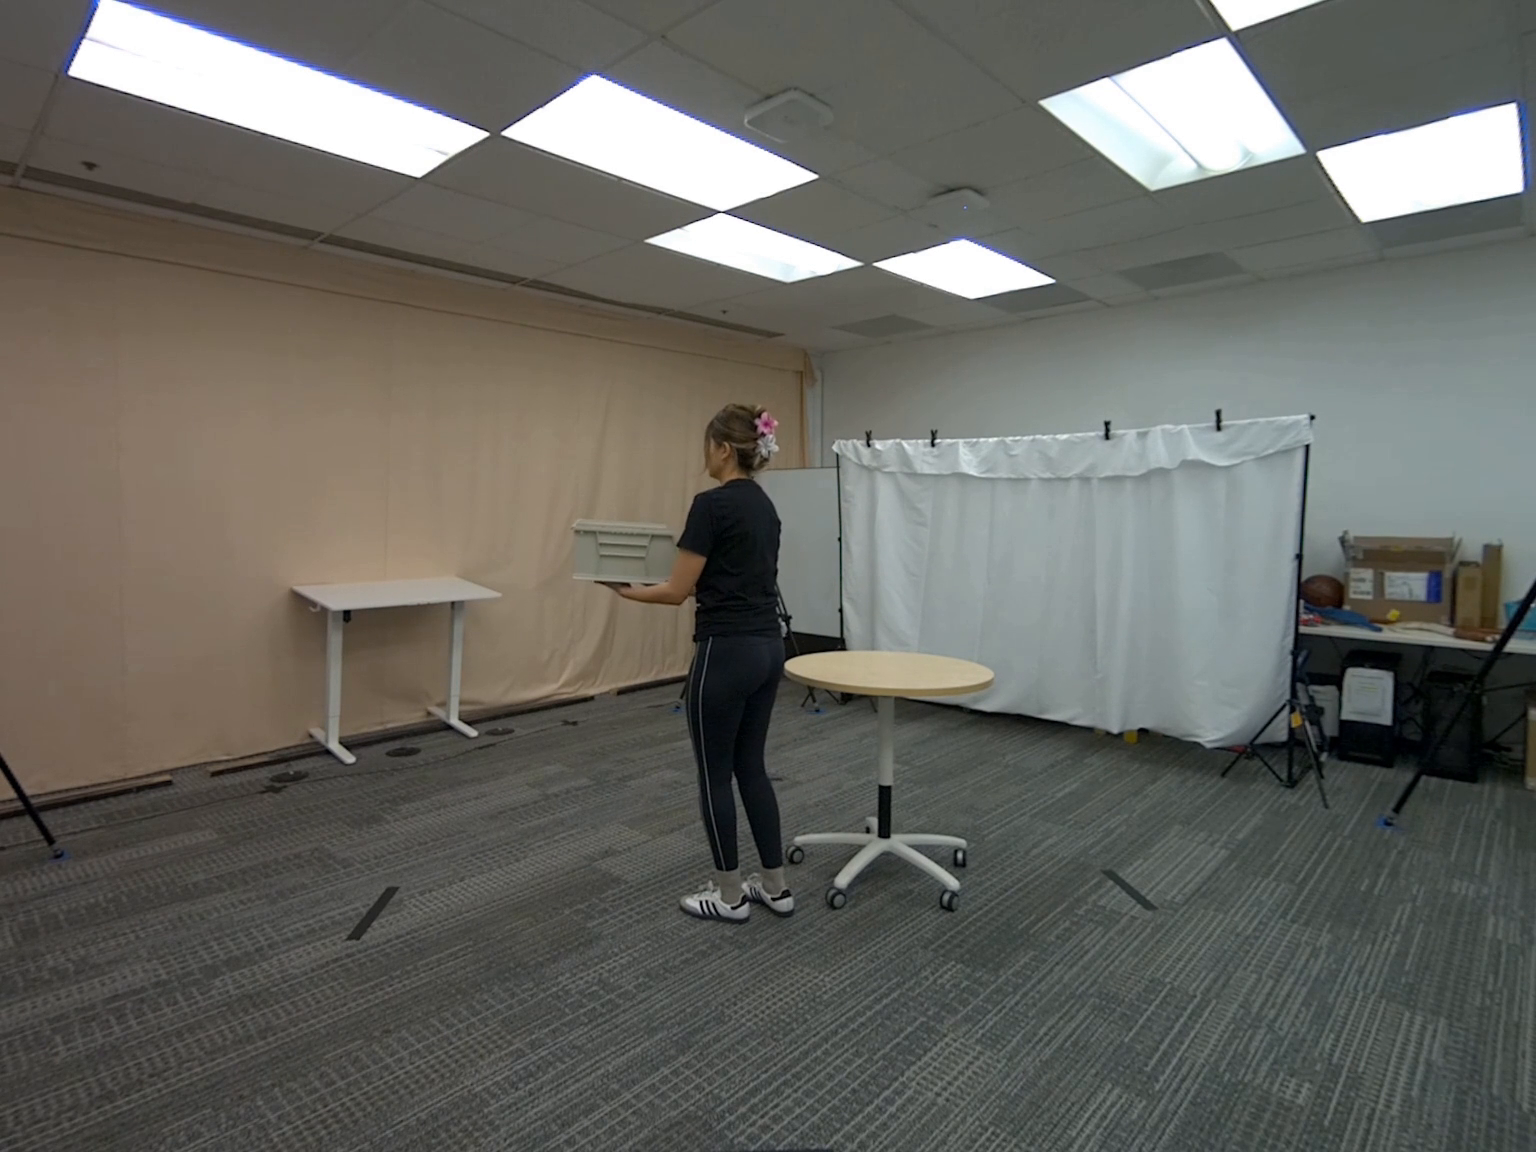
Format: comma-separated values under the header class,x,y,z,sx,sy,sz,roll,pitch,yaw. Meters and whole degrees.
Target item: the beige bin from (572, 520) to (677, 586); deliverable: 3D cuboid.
class,x,y,z,sx,sy,sz,roll,pitch,yaw
beige bin,-0.500,-0.079,3.036,0.373,0.188,0.428,4,4,-10
